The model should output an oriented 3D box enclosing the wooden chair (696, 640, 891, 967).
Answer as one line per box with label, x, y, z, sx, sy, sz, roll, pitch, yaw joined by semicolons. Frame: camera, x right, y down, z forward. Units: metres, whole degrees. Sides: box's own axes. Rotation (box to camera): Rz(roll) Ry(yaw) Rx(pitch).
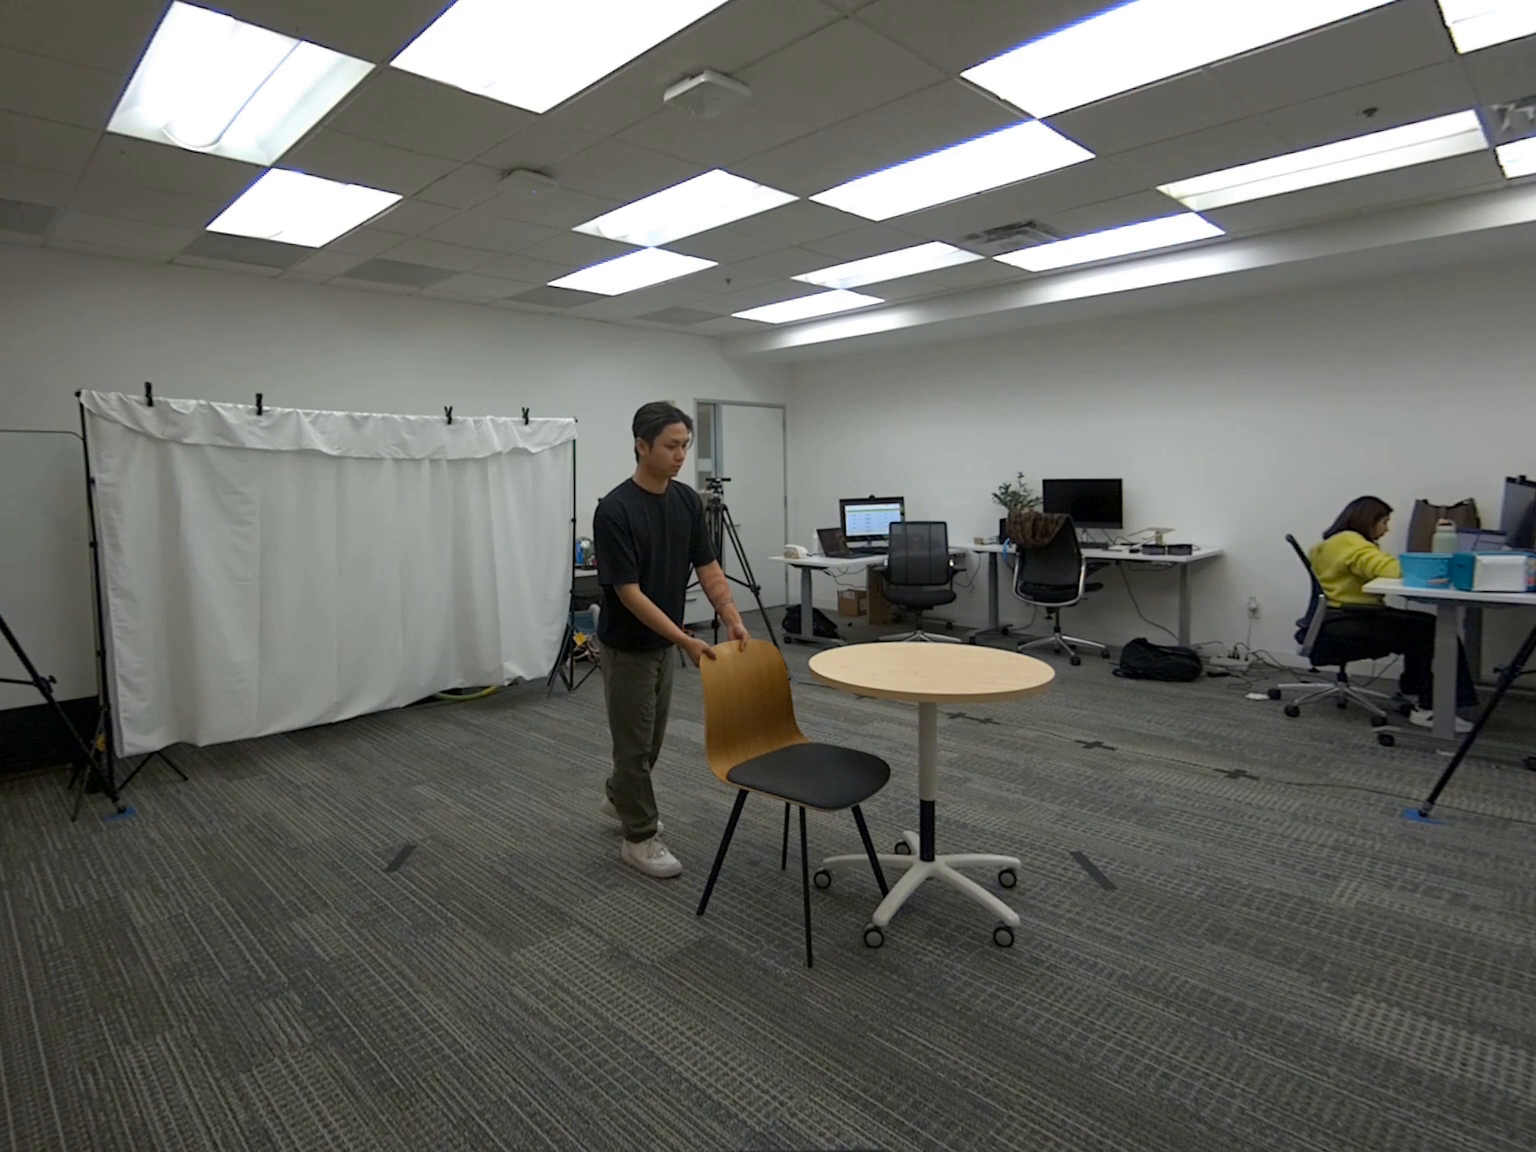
wooden chair;0.089;0.655;2.711;0.537;0.876;0.466;-3;2;41
